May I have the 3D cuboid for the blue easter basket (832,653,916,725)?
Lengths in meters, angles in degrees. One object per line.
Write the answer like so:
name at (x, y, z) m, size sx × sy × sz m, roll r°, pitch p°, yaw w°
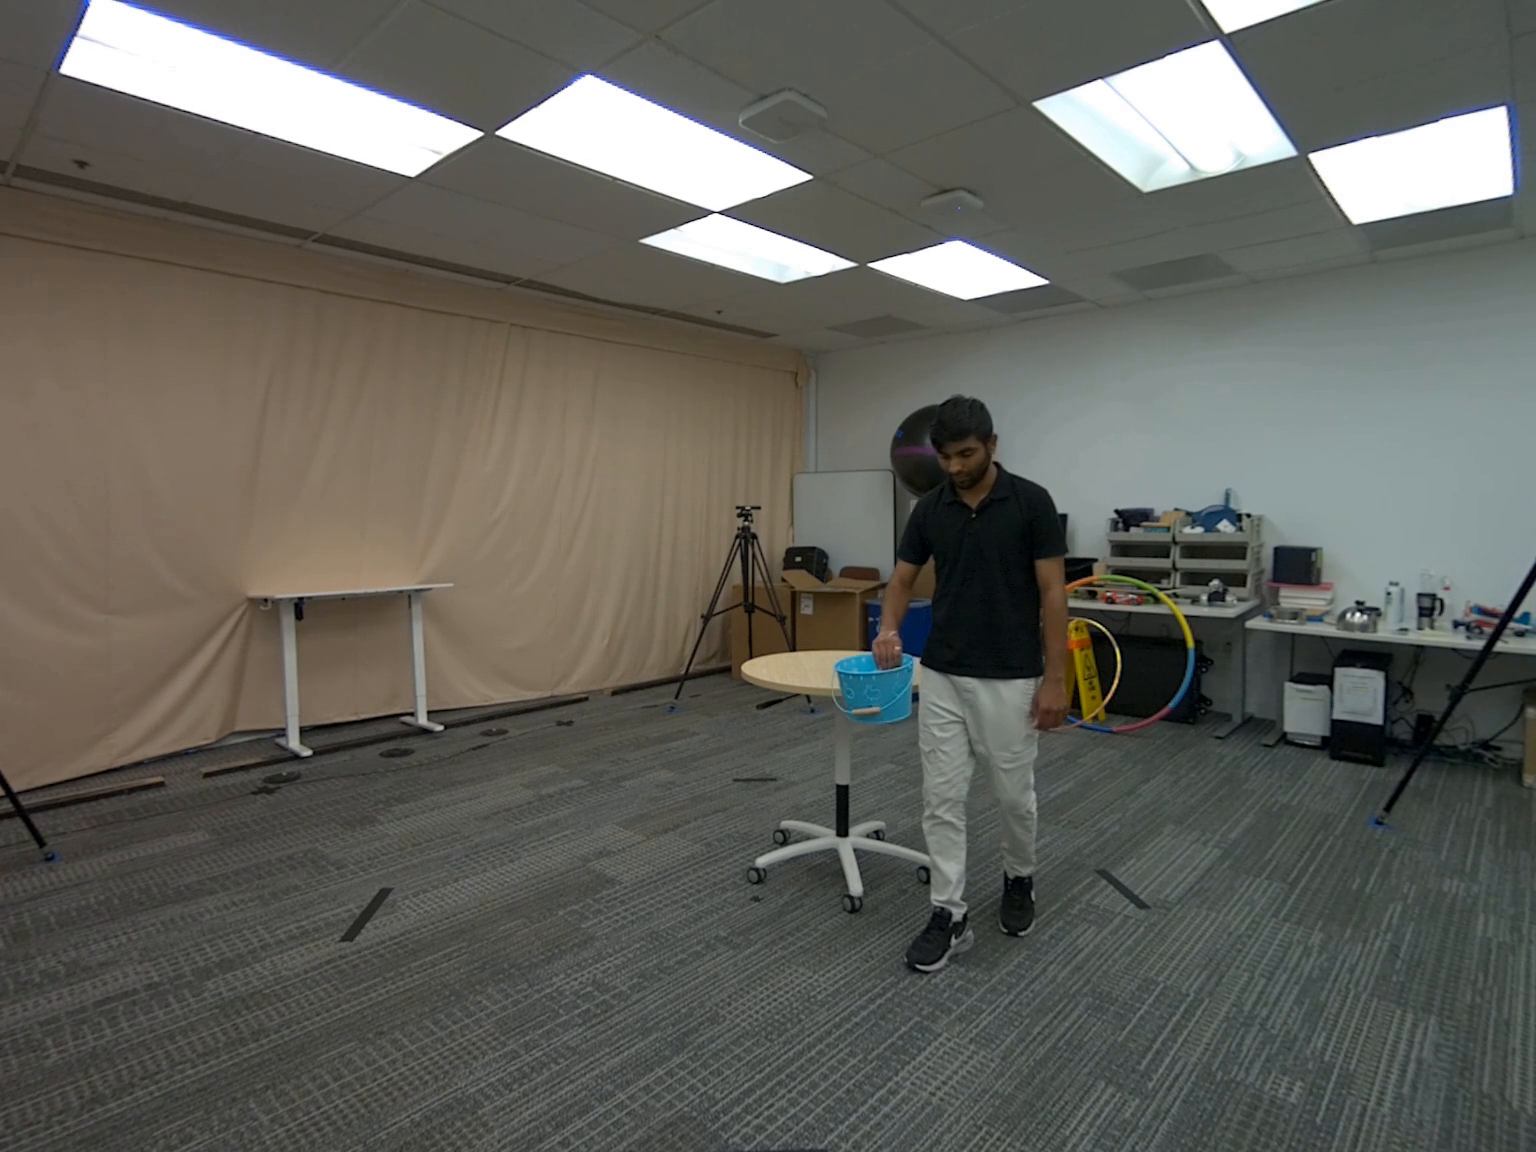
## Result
blue easter basket at (0.320, 0.325, 2.400) m, size 0.243 × 0.155 × 0.244 m, roll -6°, pitch 5°, yaw -1°
